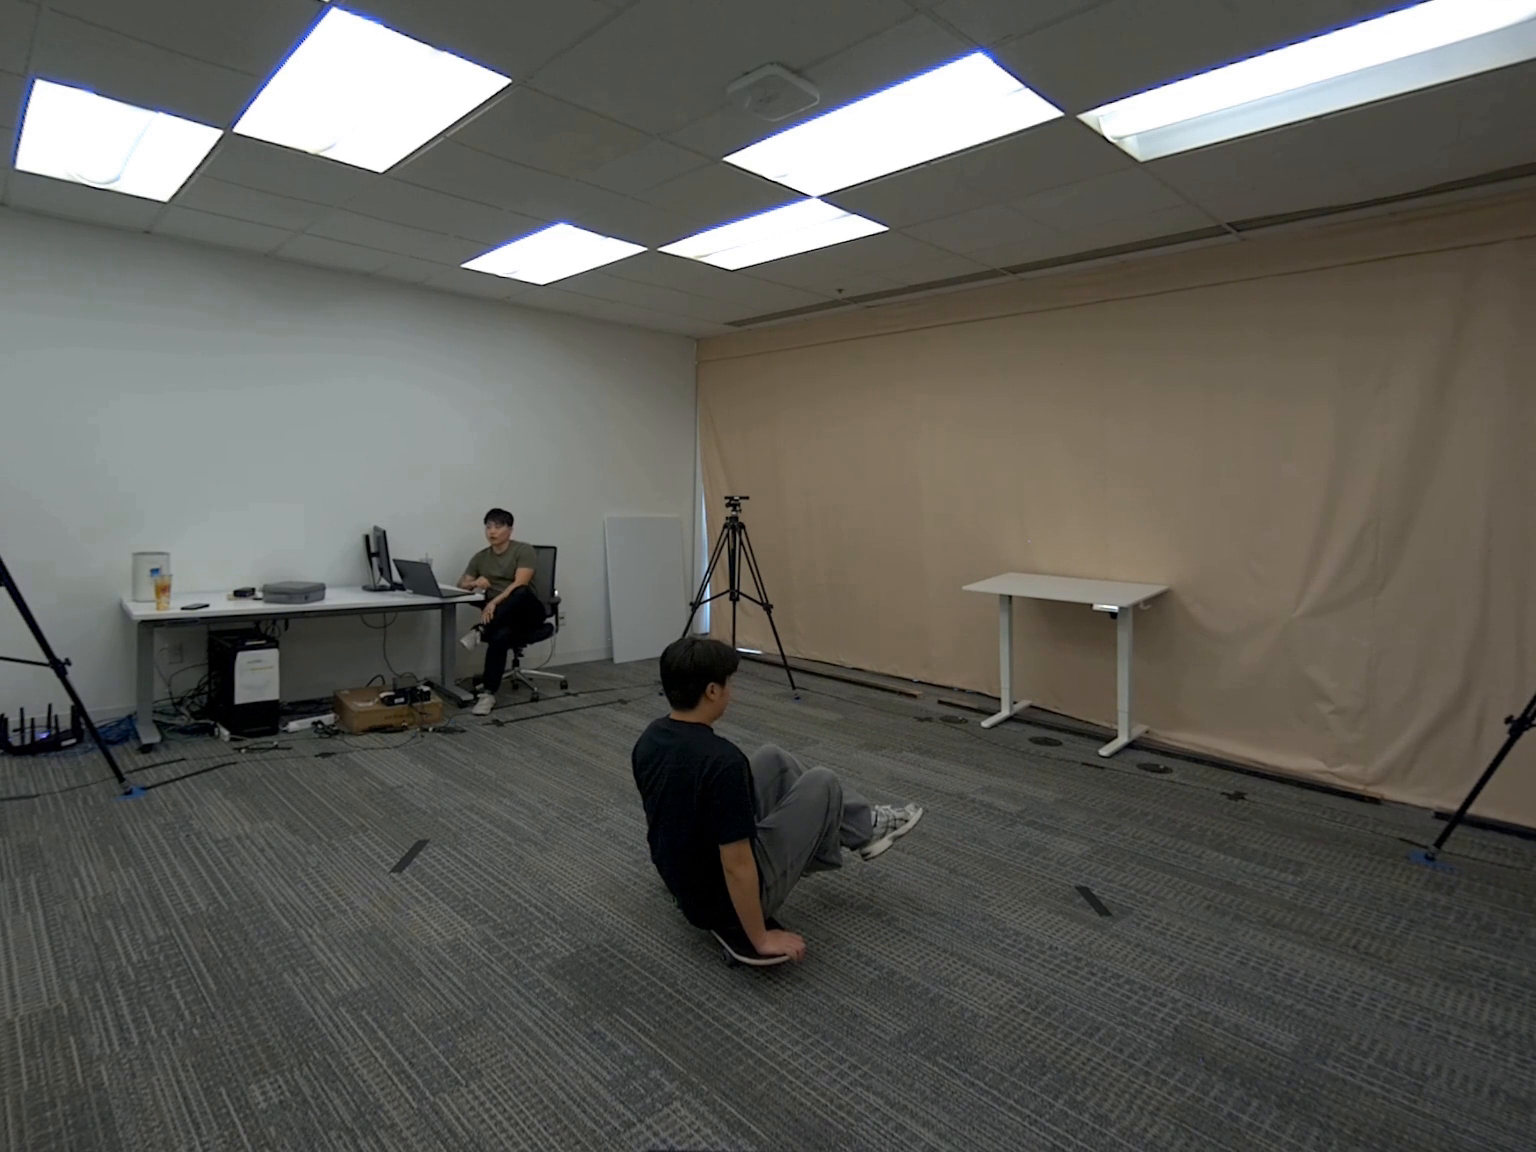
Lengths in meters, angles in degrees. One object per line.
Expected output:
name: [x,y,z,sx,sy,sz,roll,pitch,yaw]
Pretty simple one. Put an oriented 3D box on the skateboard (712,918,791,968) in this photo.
skateboard: [-0.145,1.088,2.722,0.190,0.110,0.803,-6,9,-26]
